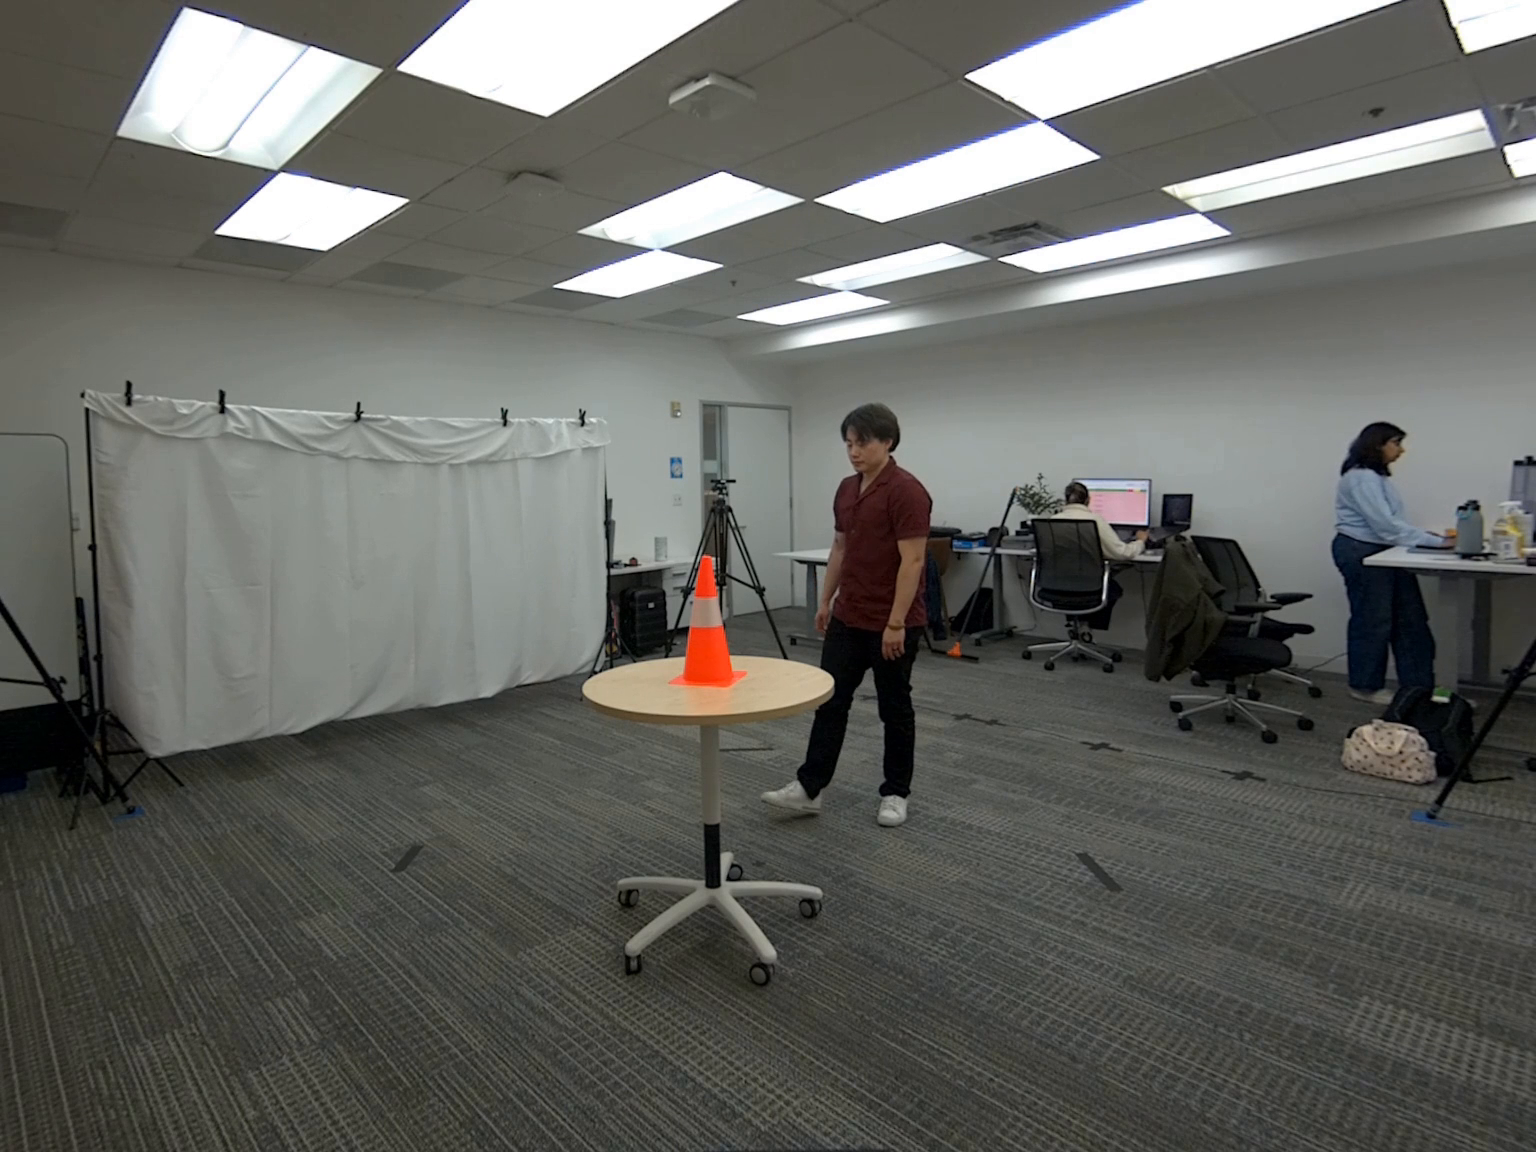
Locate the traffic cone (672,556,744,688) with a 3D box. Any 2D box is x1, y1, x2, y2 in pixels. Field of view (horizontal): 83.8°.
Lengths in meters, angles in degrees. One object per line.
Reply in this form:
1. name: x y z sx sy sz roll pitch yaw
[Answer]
1. traffic cone: -0.193 0.133 2.644 0.207 0.382 0.202 -1 4 20
